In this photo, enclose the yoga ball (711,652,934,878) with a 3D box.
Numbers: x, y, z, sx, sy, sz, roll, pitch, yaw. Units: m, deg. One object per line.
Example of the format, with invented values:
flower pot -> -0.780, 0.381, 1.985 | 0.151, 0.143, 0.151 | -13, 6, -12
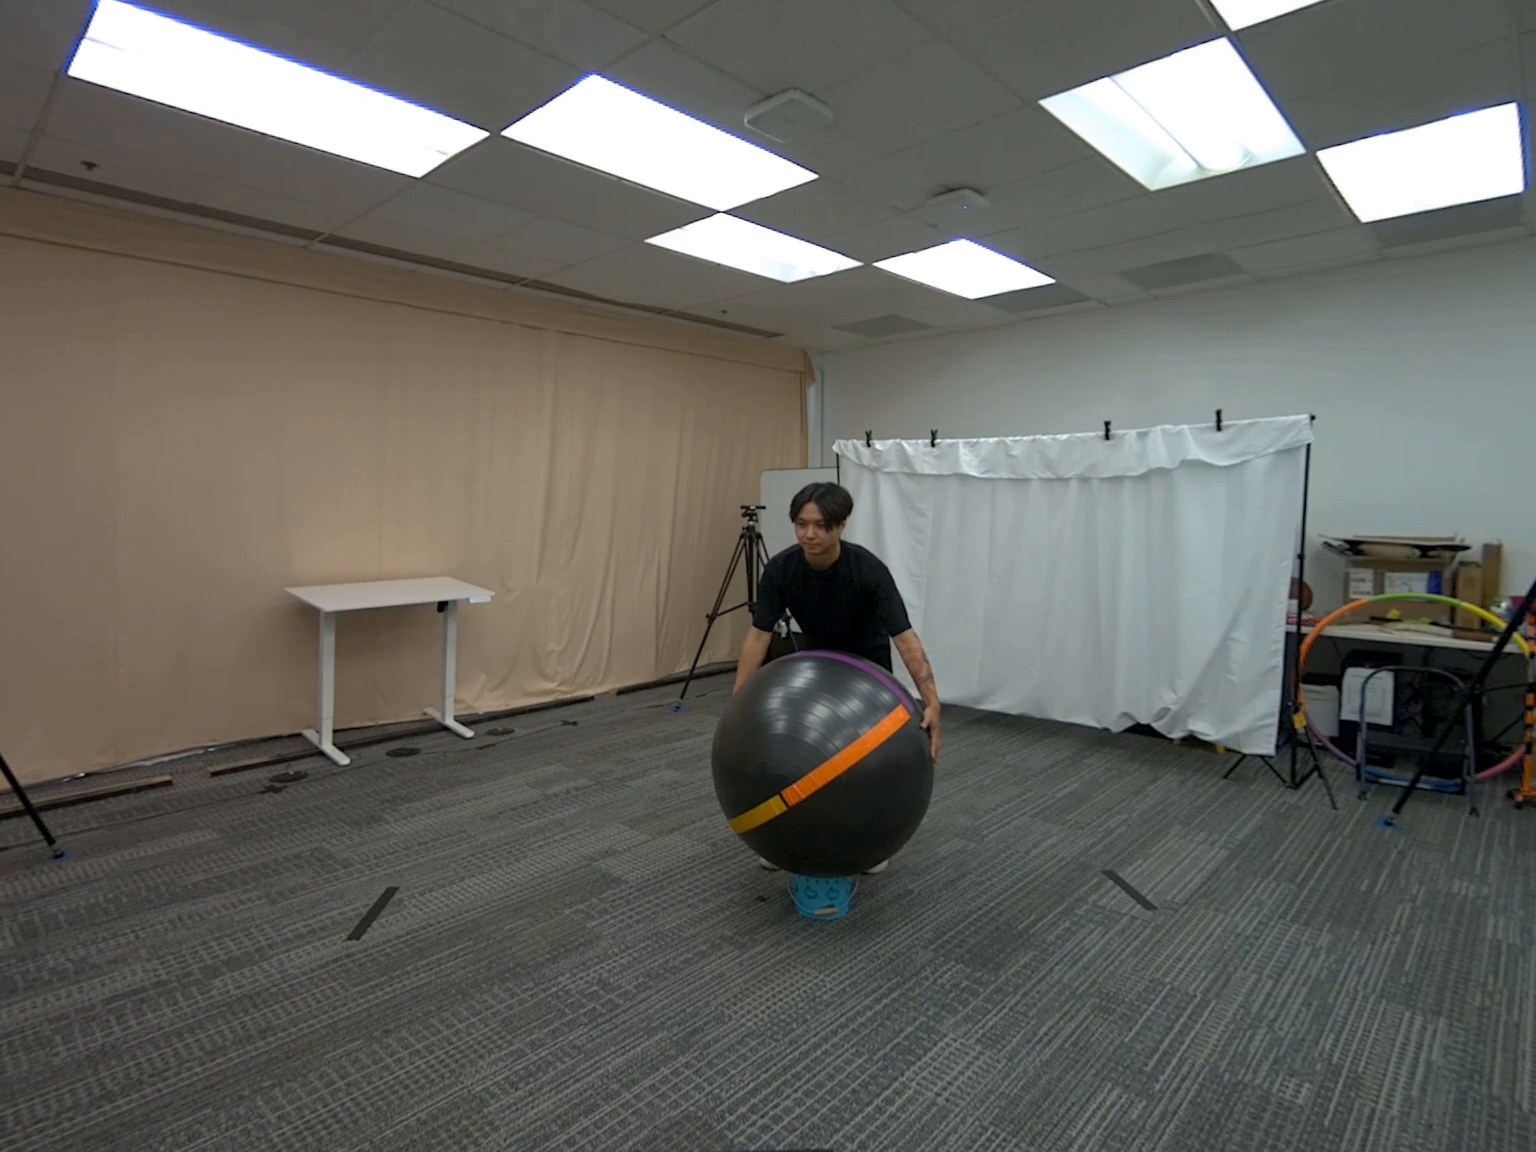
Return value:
yoga ball -> 0.187, 0.636, 2.896 | 0.757, 0.756, 0.761 | 0, 4, -2
